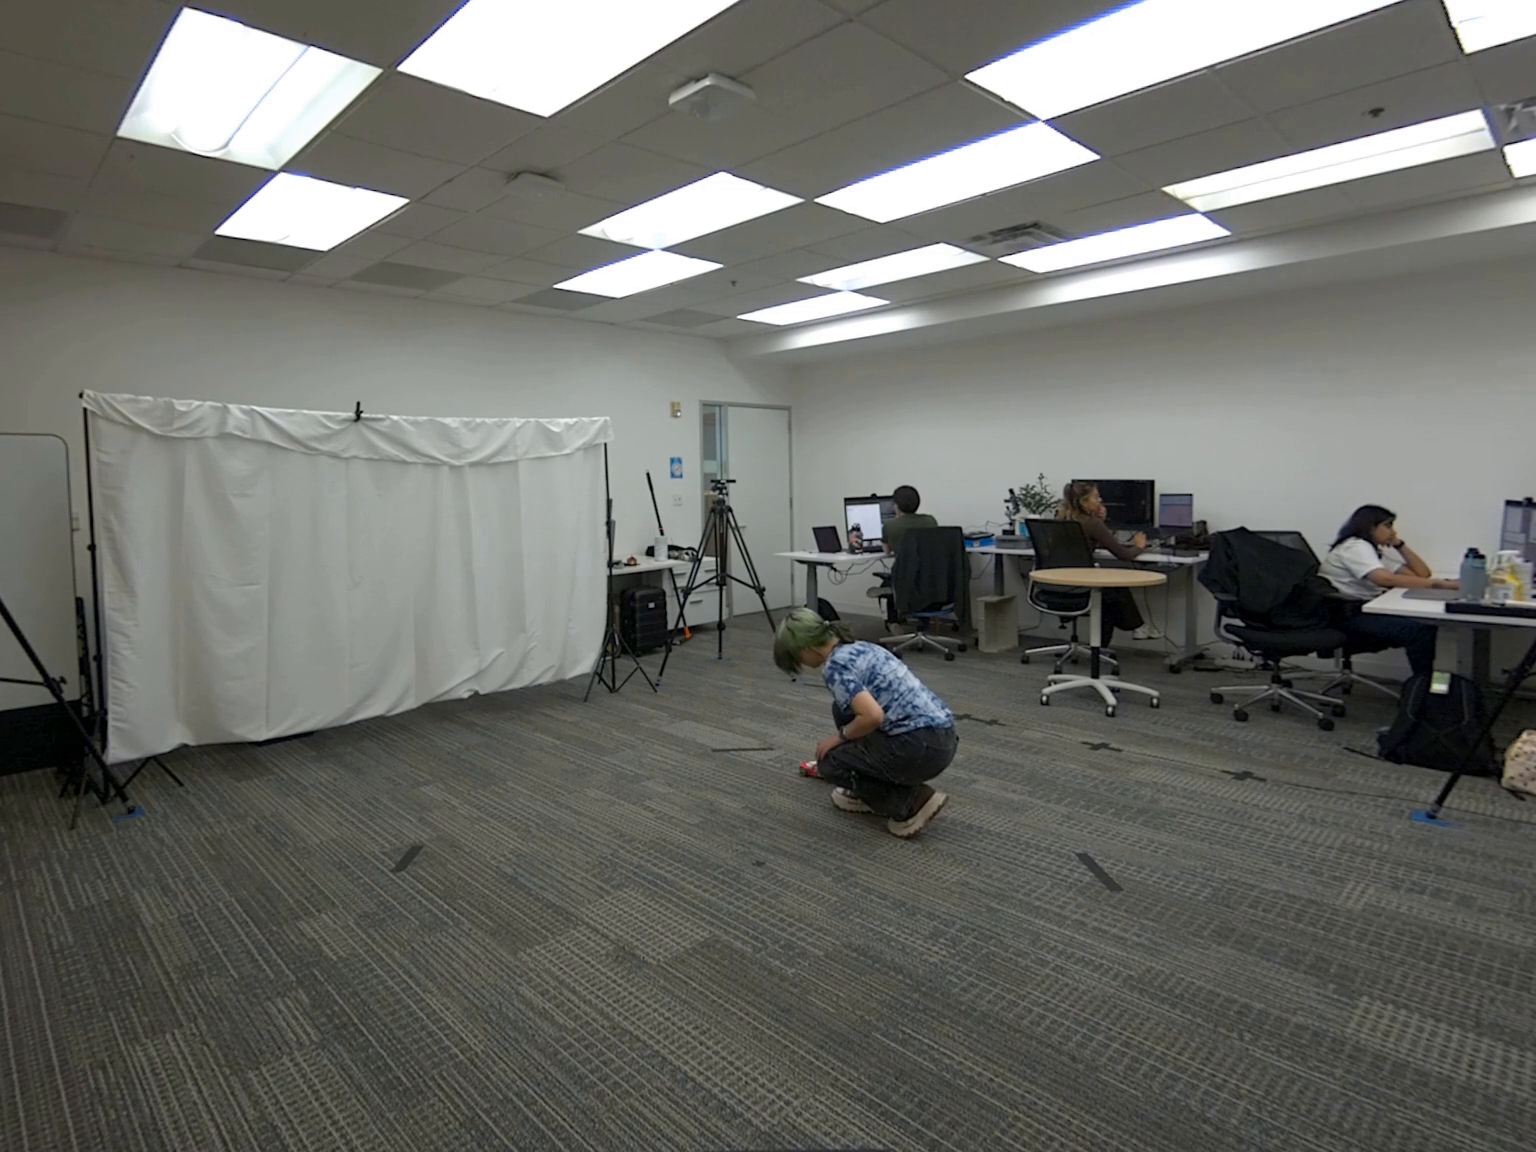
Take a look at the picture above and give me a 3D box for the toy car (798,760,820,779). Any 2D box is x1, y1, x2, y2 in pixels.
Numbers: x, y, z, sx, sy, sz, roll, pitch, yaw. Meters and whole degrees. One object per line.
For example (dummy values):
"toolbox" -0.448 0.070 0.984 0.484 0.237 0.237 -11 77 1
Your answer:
"toy car" 0.276 0.915 3.998 0.260 0.083 0.127 -10 -3 39
